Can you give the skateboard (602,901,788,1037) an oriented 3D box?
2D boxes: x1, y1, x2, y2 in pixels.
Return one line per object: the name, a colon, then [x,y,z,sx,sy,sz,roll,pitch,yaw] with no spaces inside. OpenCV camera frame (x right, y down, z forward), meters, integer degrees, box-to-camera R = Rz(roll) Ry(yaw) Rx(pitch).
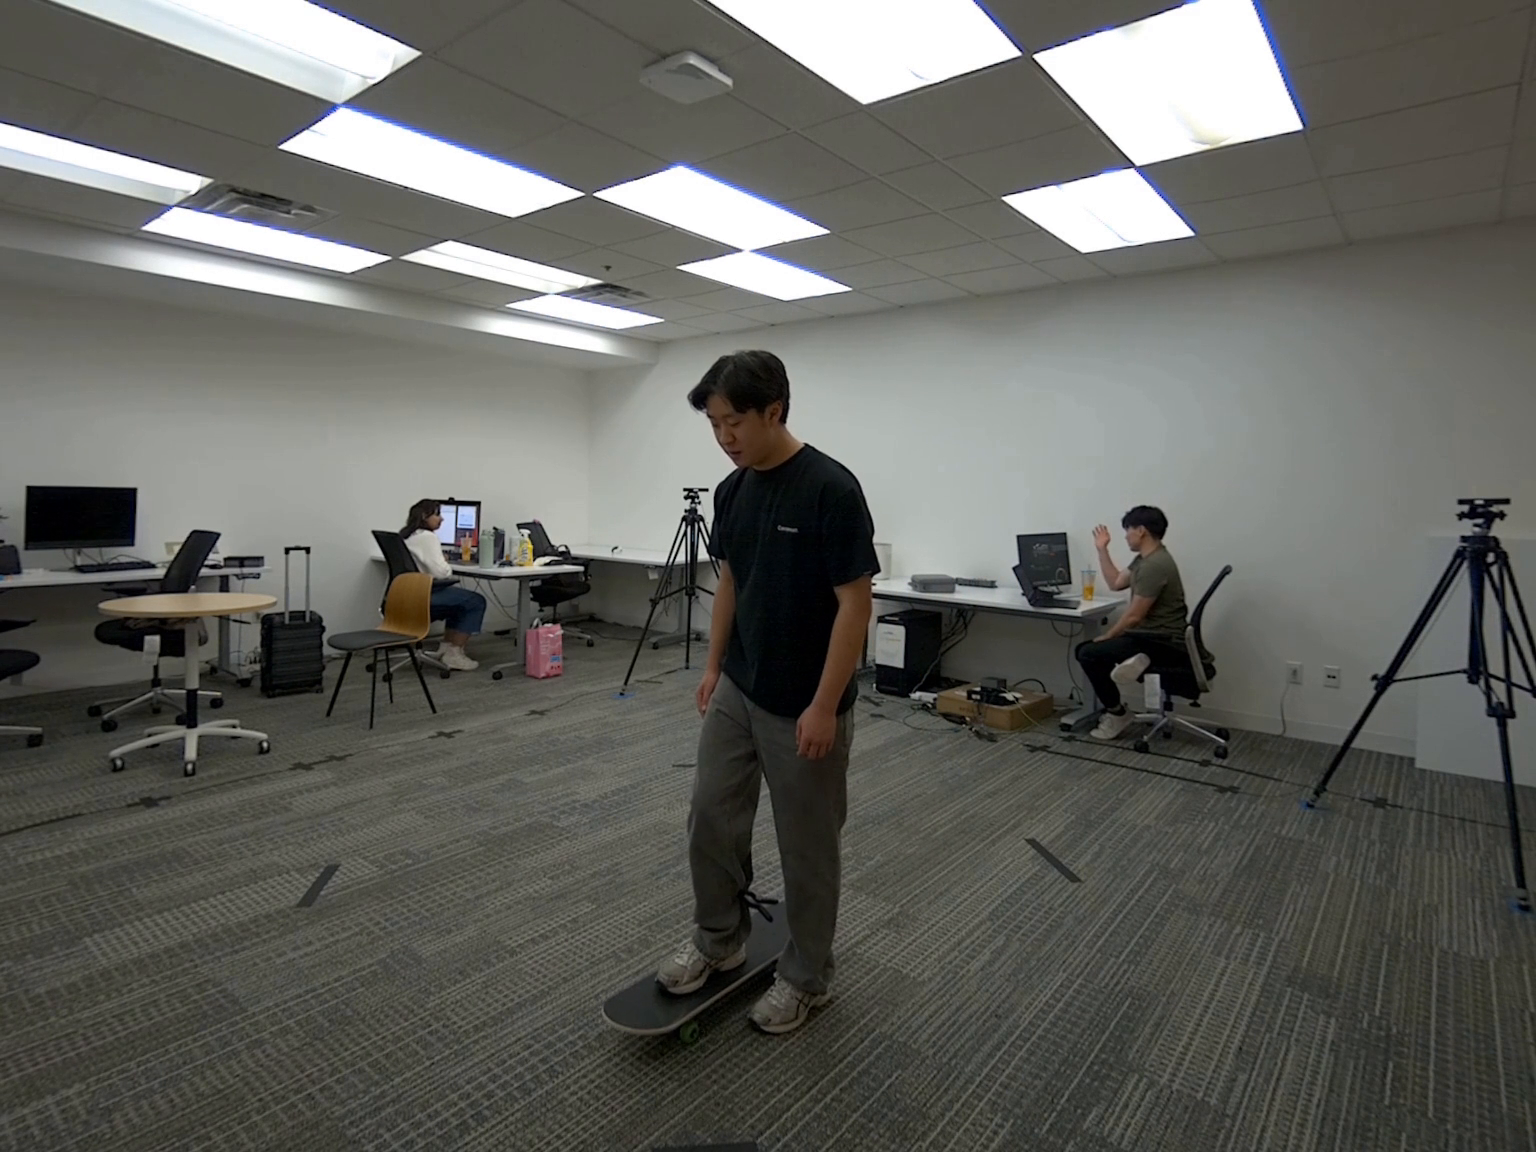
skateboard: [-0.144,1.099,2.344,0.200,0.110,0.762,5,7,39]
